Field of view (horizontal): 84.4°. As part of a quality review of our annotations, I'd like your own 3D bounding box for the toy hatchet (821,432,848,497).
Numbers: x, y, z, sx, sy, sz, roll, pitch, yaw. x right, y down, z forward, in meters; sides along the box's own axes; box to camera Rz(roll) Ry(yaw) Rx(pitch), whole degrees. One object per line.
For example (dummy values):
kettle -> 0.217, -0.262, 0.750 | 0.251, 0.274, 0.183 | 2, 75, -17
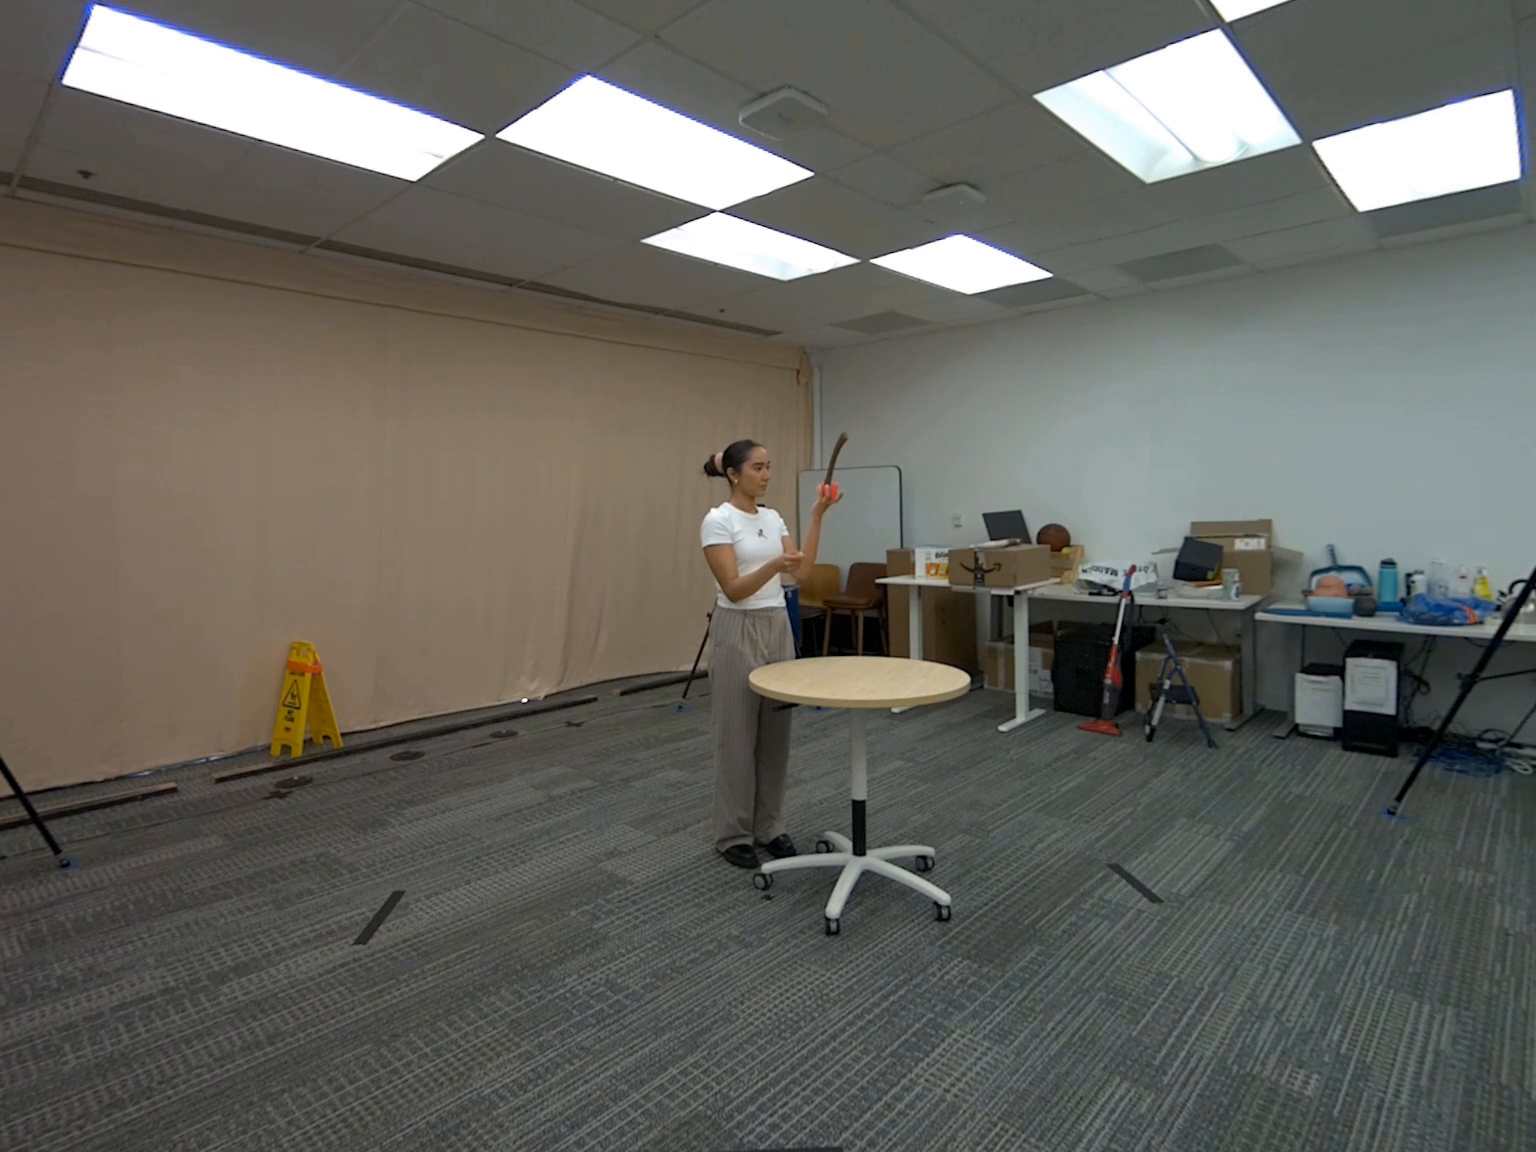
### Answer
toy hatchet -> 0.251, -0.393, 3.124 | 0.029, 0.268, 0.134 | 3, 44, -20
